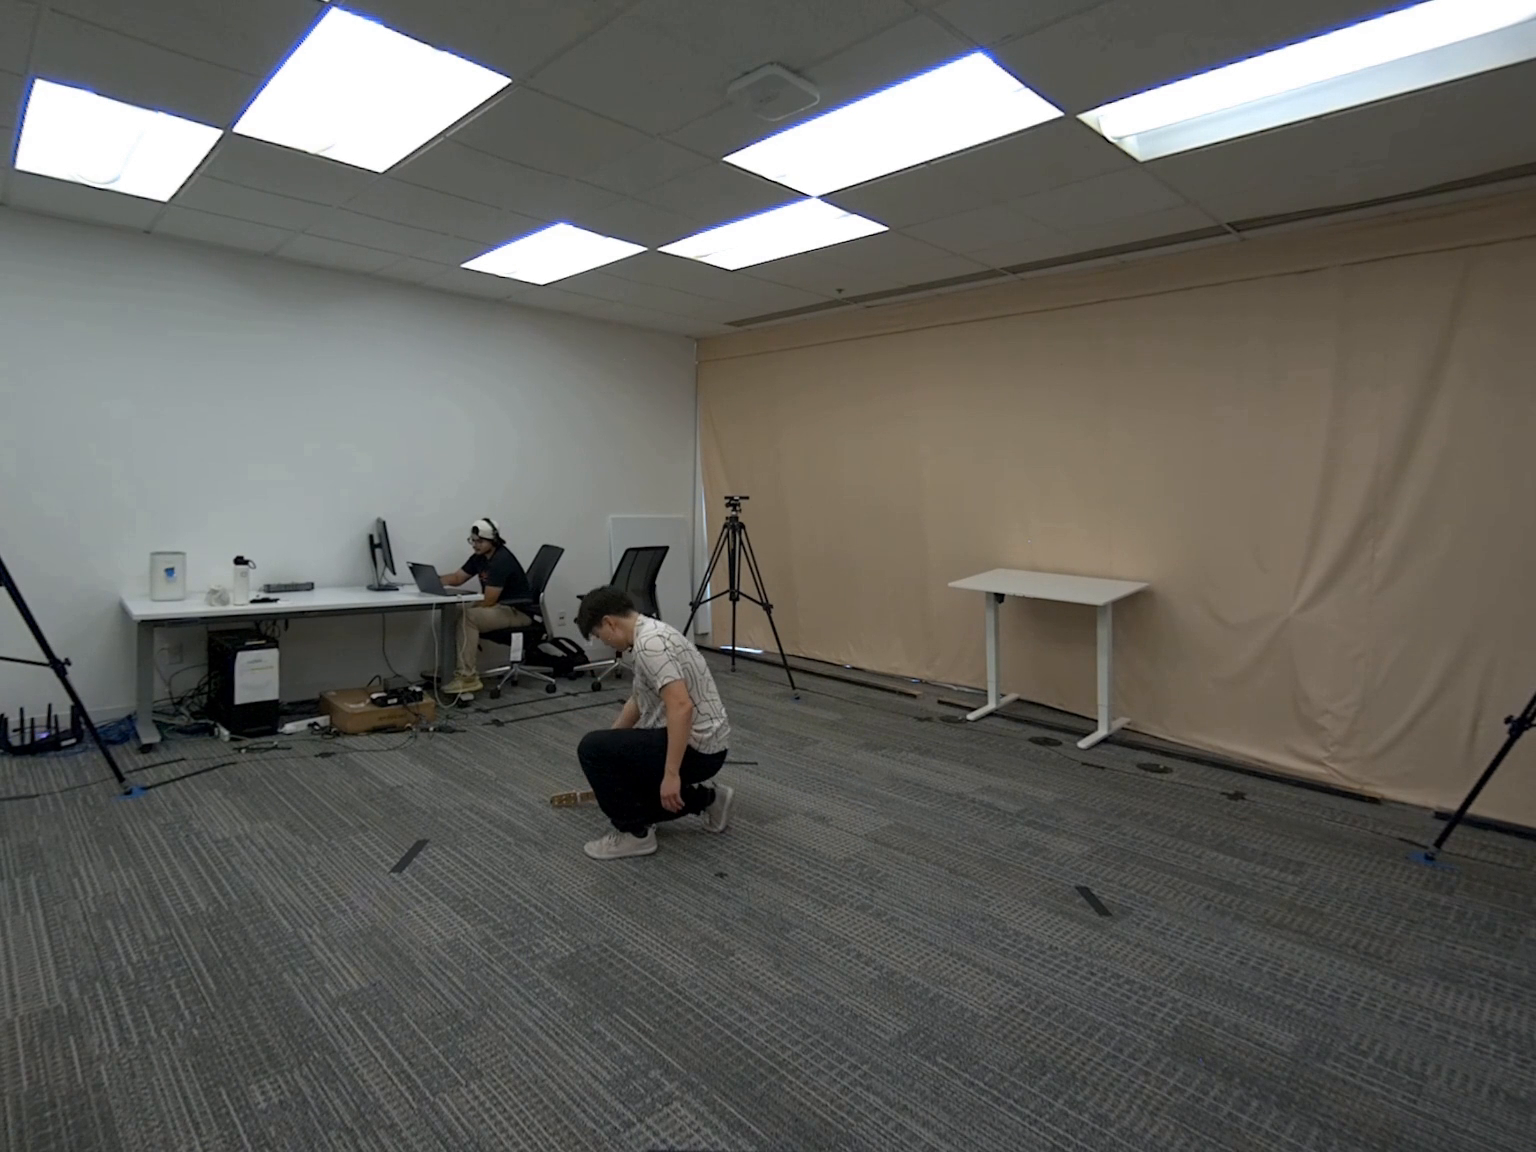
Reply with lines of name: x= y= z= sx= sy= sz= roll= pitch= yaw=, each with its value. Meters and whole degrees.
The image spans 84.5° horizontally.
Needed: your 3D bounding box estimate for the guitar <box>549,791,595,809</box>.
guitar: x=-0.735 y=0.948 z=3.768 sx=0.497 sy=0.192 sz=0.071 roll=0 pitch=7 yaw=-1
